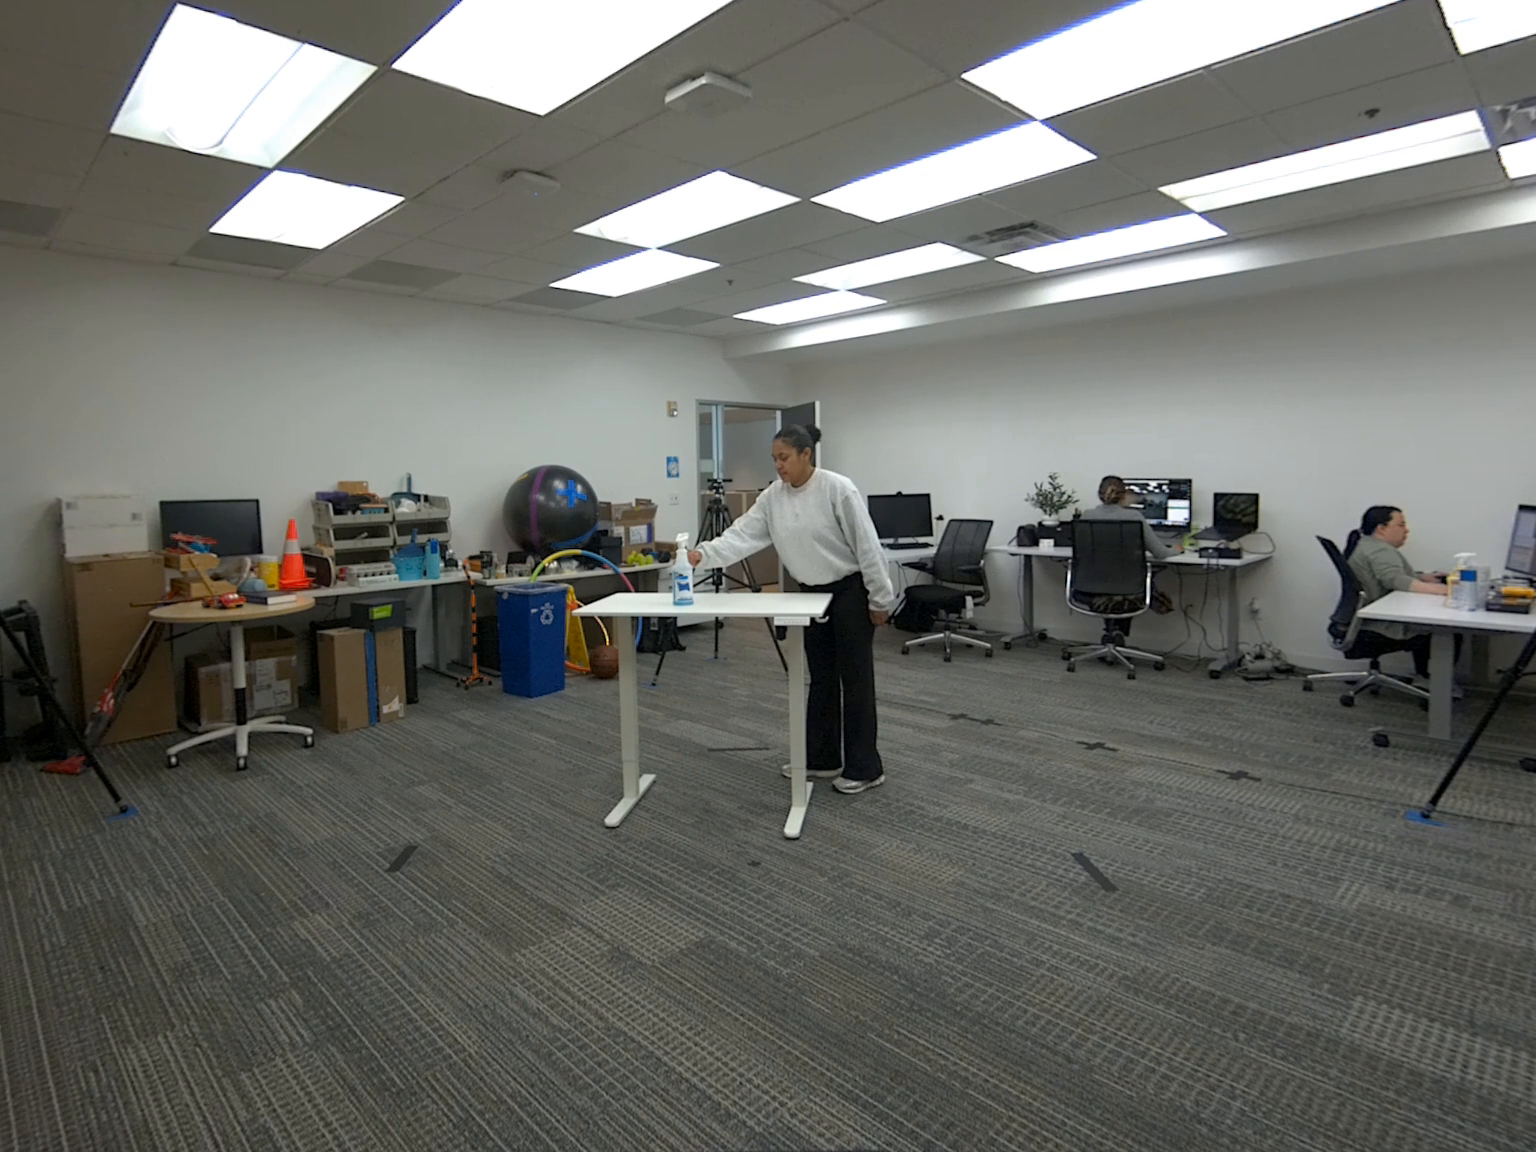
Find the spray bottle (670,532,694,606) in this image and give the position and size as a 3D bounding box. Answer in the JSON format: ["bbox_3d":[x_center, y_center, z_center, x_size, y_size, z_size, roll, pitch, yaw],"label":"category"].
[{"bbox_3d":[-0.354,-0.031,3.565,0.088,0.296,0.089,-4,3,-39],"label":"spray bottle"}]
